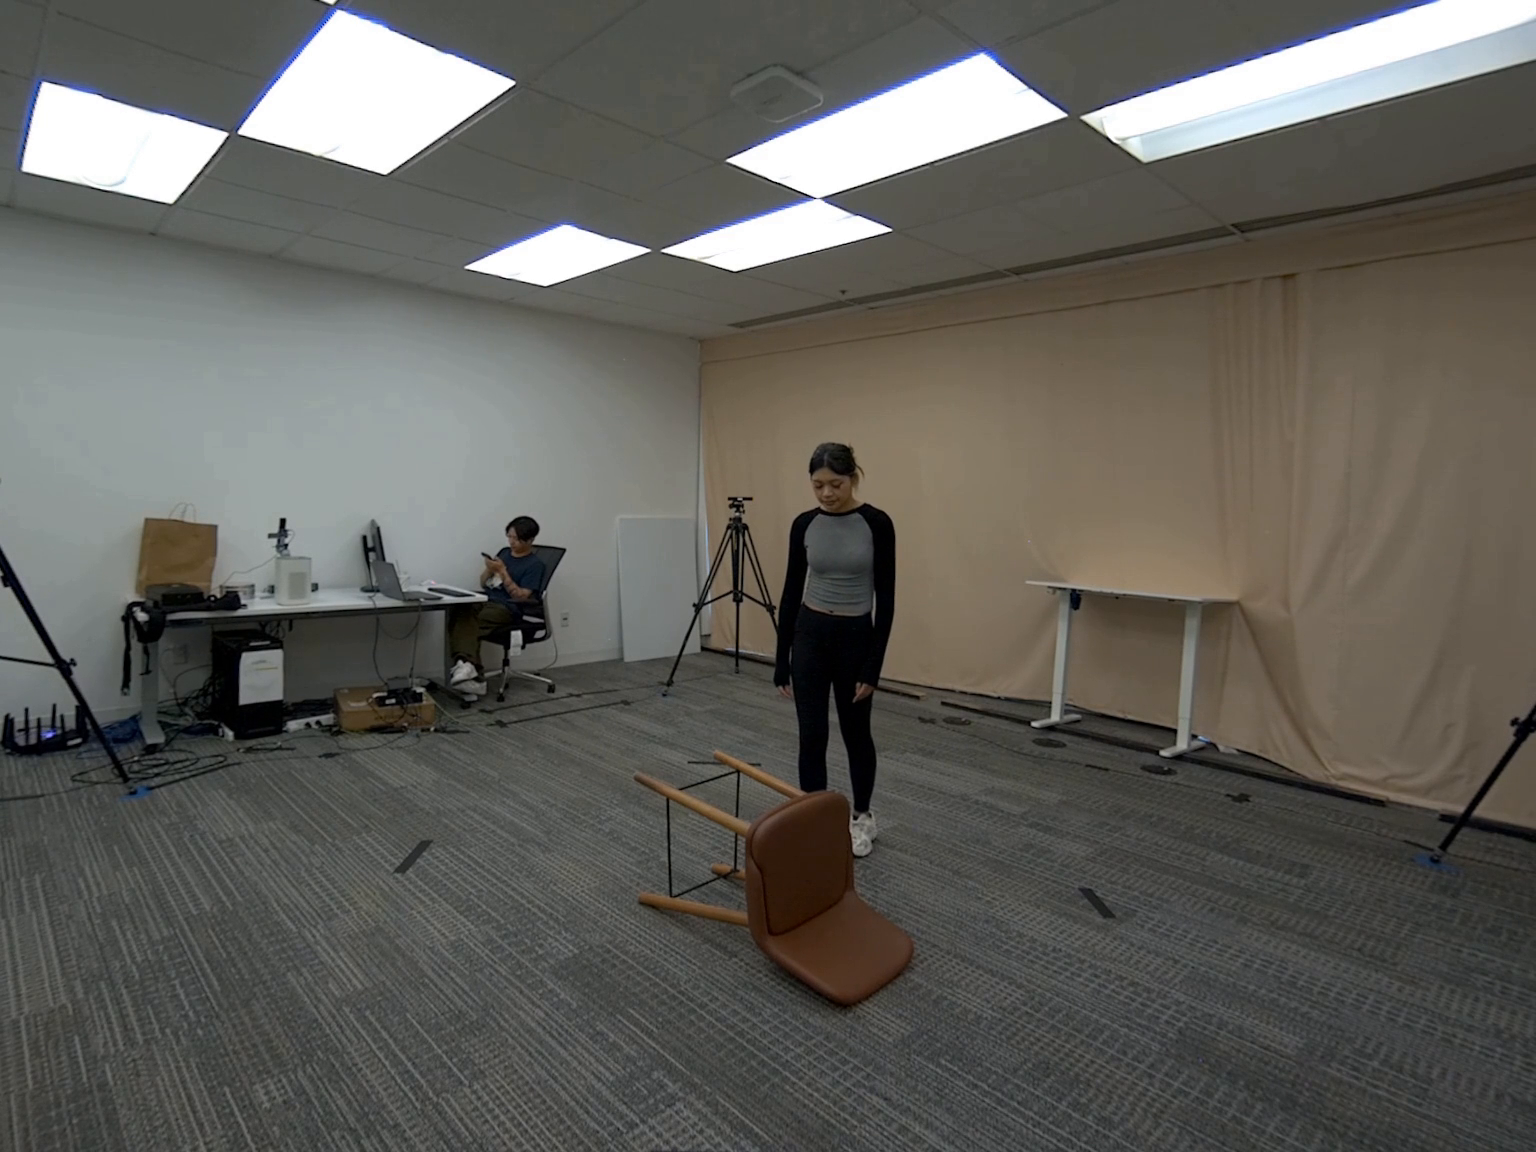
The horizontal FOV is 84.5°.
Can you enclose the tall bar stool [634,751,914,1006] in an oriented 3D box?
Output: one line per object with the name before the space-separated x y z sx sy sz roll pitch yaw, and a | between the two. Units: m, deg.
tall bar stool | -0.004 0.918 2.703 0.913 0.466 0.446 6 6 44
